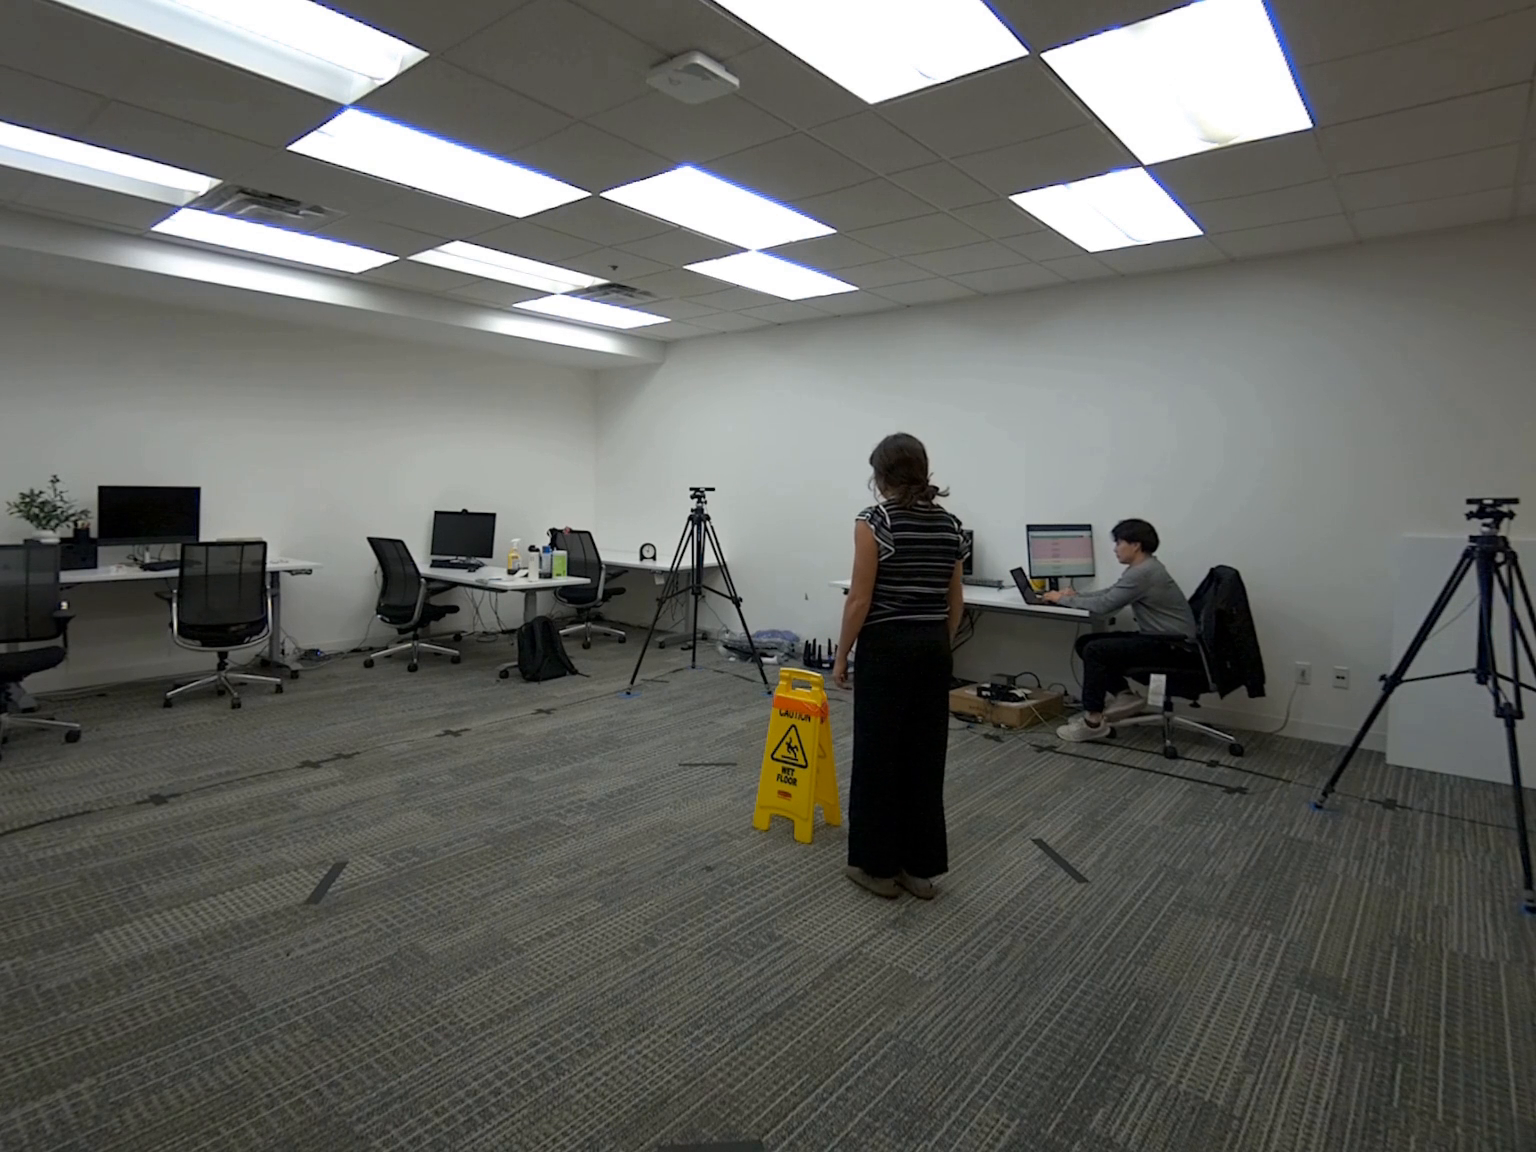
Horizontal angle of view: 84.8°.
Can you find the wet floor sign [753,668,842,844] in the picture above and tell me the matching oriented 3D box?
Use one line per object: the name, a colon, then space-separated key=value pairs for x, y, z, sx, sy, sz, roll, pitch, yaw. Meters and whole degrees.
wet floor sign: x=0.120 y=0.709 z=3.514 sx=0.291 sy=0.644 sz=0.281 roll=4 pitch=3 yaw=35
